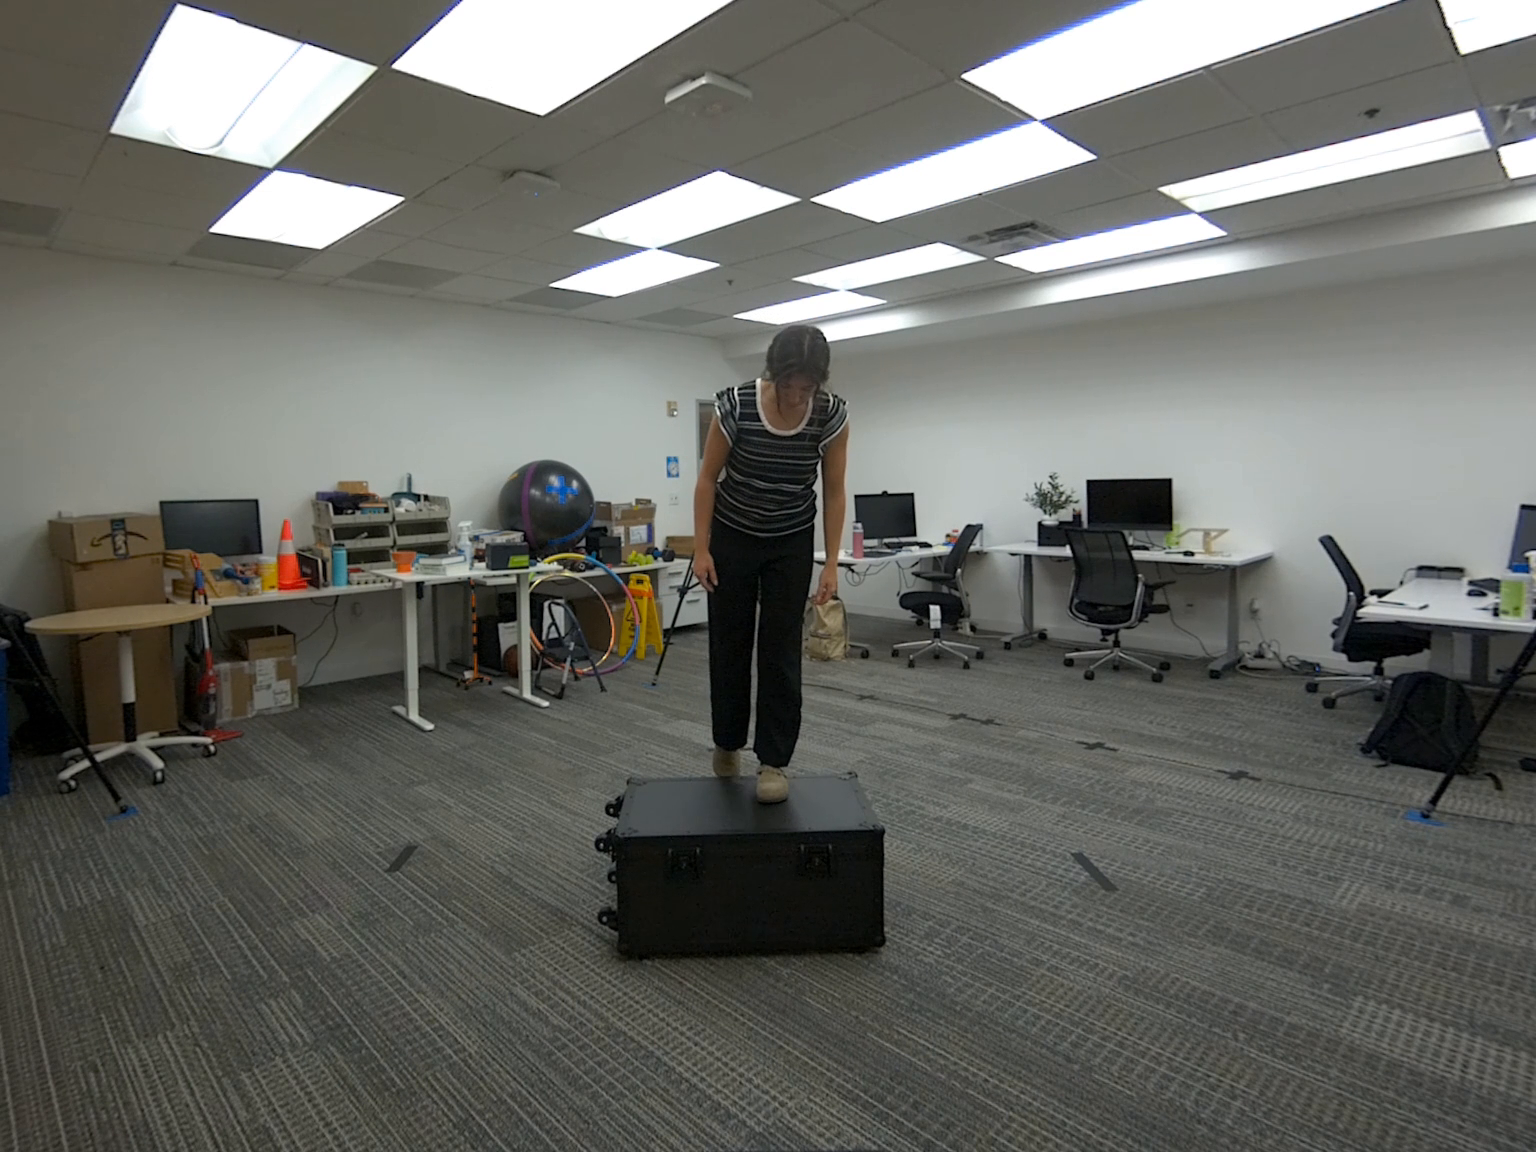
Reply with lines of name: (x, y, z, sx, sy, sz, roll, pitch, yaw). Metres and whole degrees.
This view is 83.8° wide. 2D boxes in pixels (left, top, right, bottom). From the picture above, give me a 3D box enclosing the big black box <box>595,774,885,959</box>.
big black box: (-0.099, 0.898, 2.716, 0.860, 0.395, 0.524, -1, 5, -3)
